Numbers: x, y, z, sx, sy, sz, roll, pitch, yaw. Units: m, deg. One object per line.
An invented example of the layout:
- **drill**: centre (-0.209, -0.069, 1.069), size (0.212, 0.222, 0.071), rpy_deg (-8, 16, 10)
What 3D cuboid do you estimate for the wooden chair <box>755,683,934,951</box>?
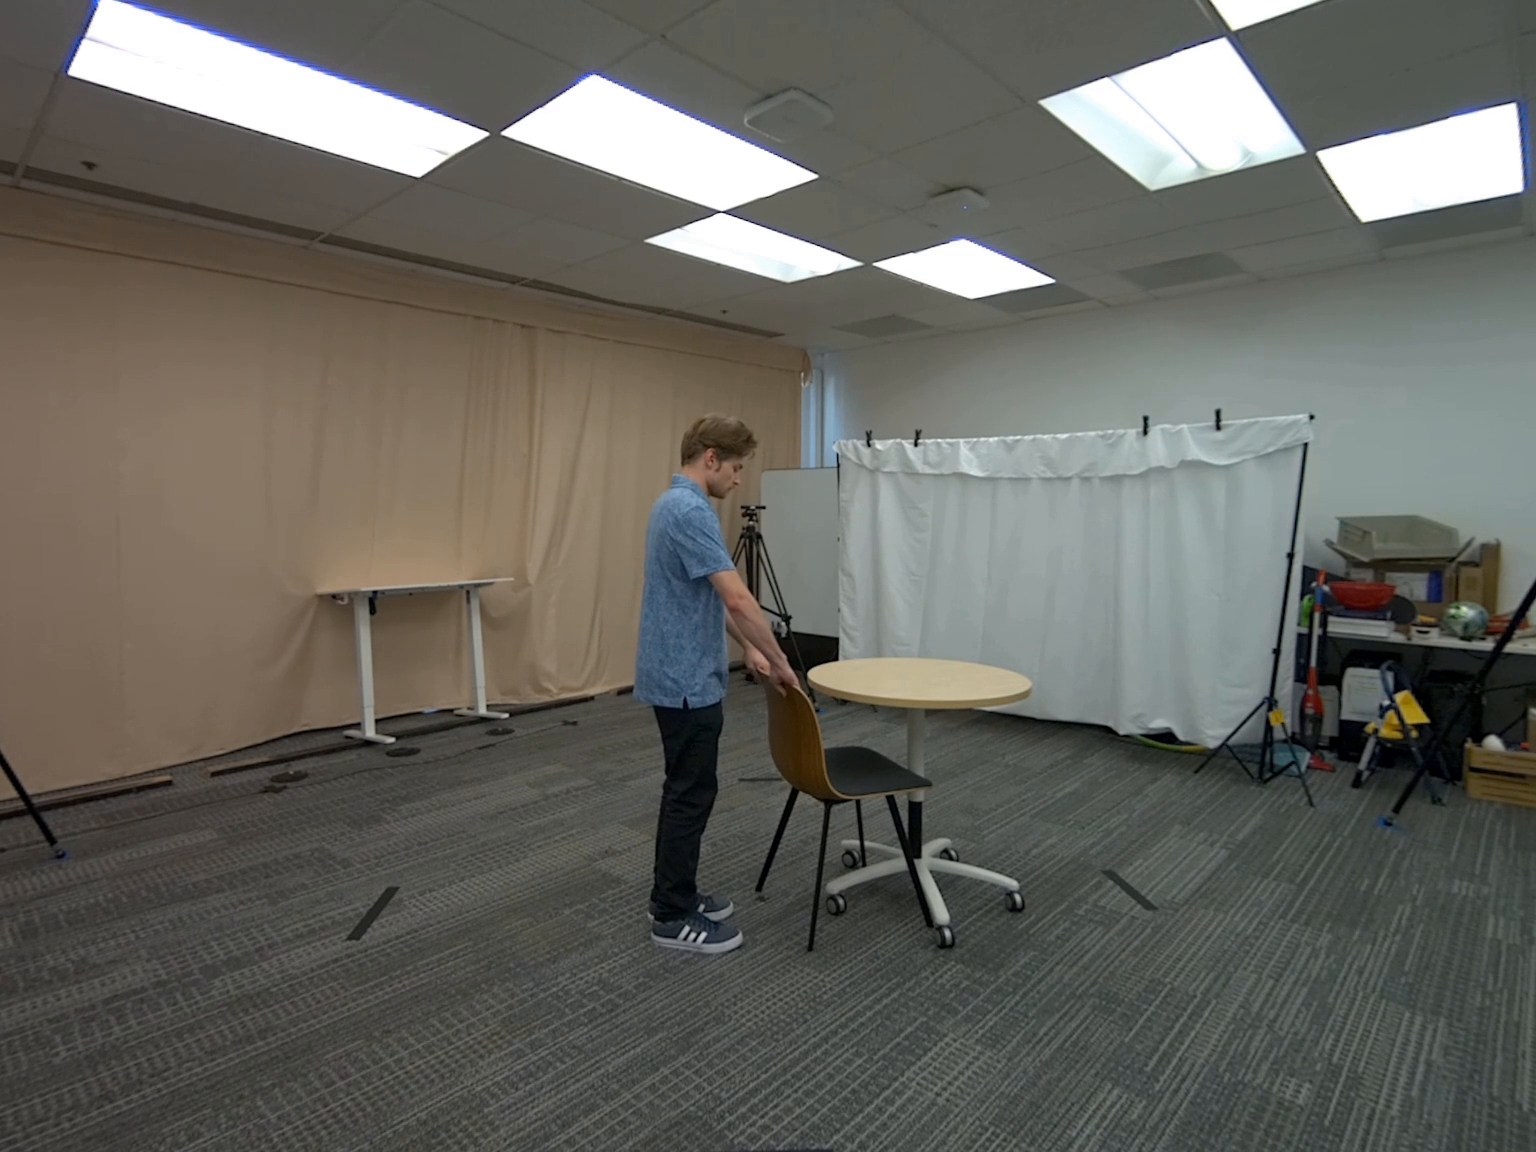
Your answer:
- **wooden chair**: centre (0.255, 0.721, 2.878), size (0.513, 0.875, 0.489), rpy_deg (-6, 5, -21)
